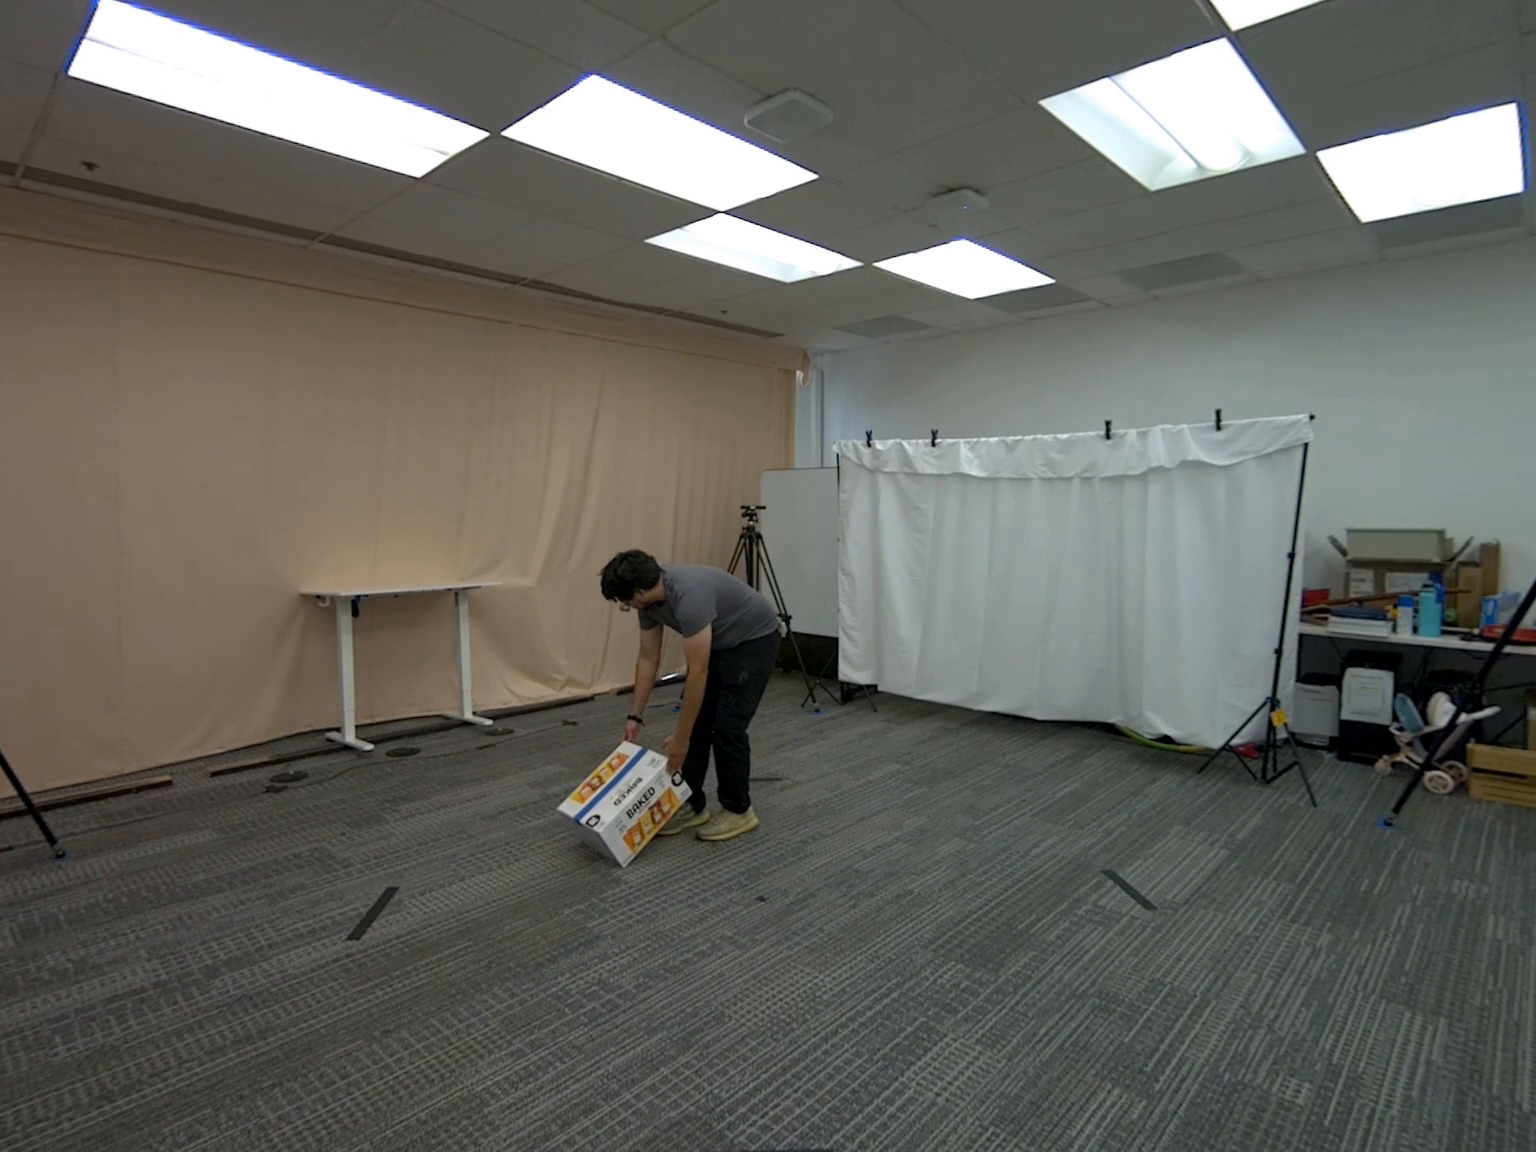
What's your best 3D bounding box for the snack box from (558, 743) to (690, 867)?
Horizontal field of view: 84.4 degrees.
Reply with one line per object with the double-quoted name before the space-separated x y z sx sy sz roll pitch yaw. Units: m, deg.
"snack box" -0.584 0.919 3.435 0.351 0.201 0.401 4 40 49
